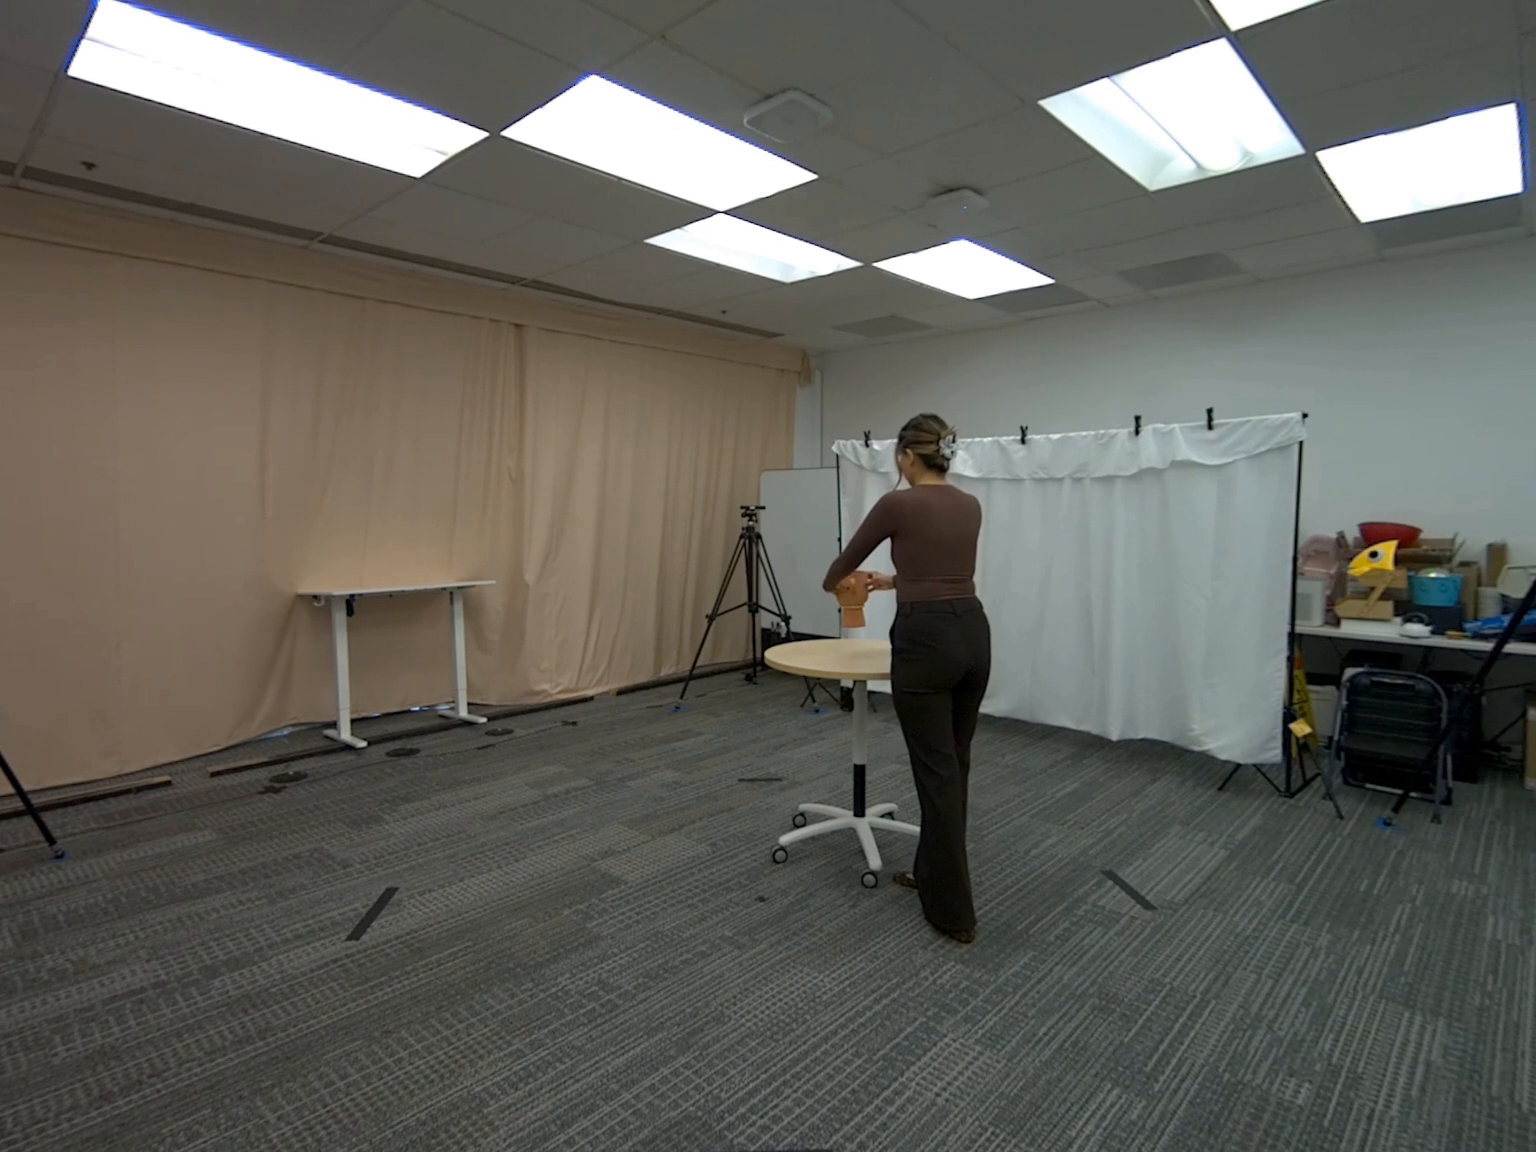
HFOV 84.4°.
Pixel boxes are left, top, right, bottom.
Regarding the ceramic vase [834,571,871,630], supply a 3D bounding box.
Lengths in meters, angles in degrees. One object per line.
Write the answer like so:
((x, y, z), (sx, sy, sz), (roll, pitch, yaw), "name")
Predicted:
((0.346, 0.094, 3.404), (0.139, 0.219, 0.154), (0, 4, 40), "ceramic vase")
